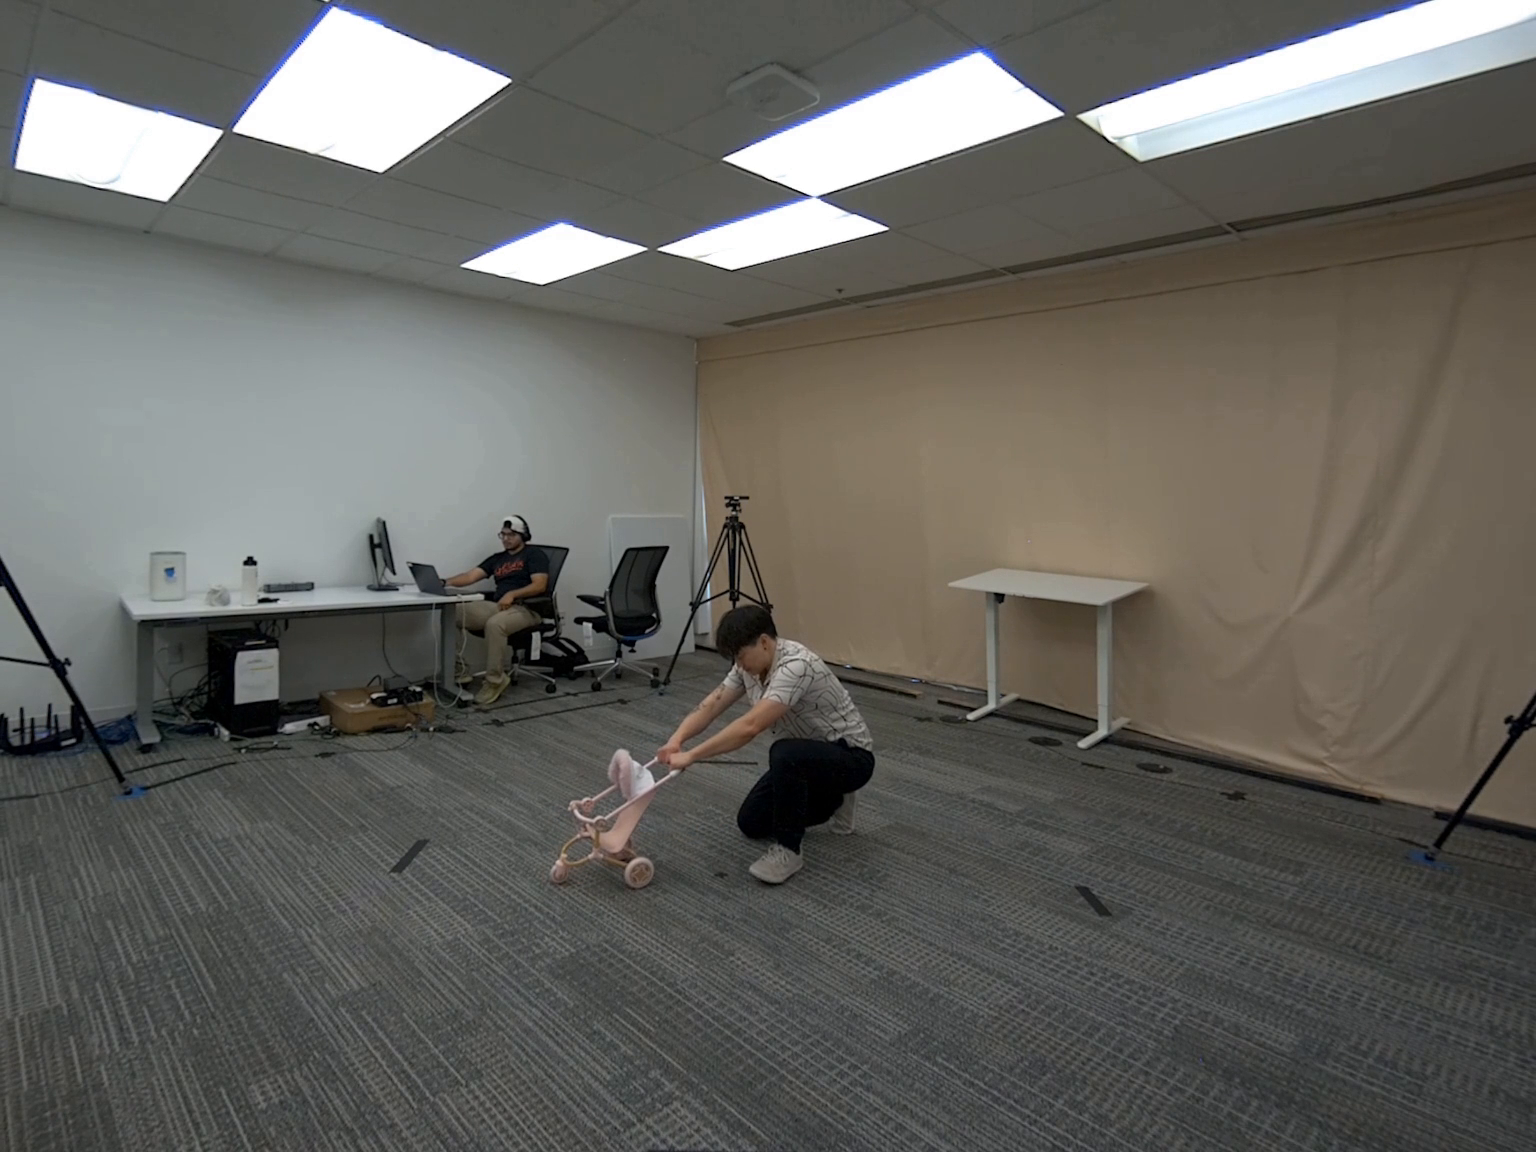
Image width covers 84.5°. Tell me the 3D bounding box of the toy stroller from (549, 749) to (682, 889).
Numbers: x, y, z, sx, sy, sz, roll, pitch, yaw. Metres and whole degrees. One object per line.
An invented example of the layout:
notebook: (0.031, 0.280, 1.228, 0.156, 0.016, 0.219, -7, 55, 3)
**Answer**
toy stroller: (-0.564, 0.874, 3.066, 0.335, 0.536, 0.286, 19, -3, -20)
